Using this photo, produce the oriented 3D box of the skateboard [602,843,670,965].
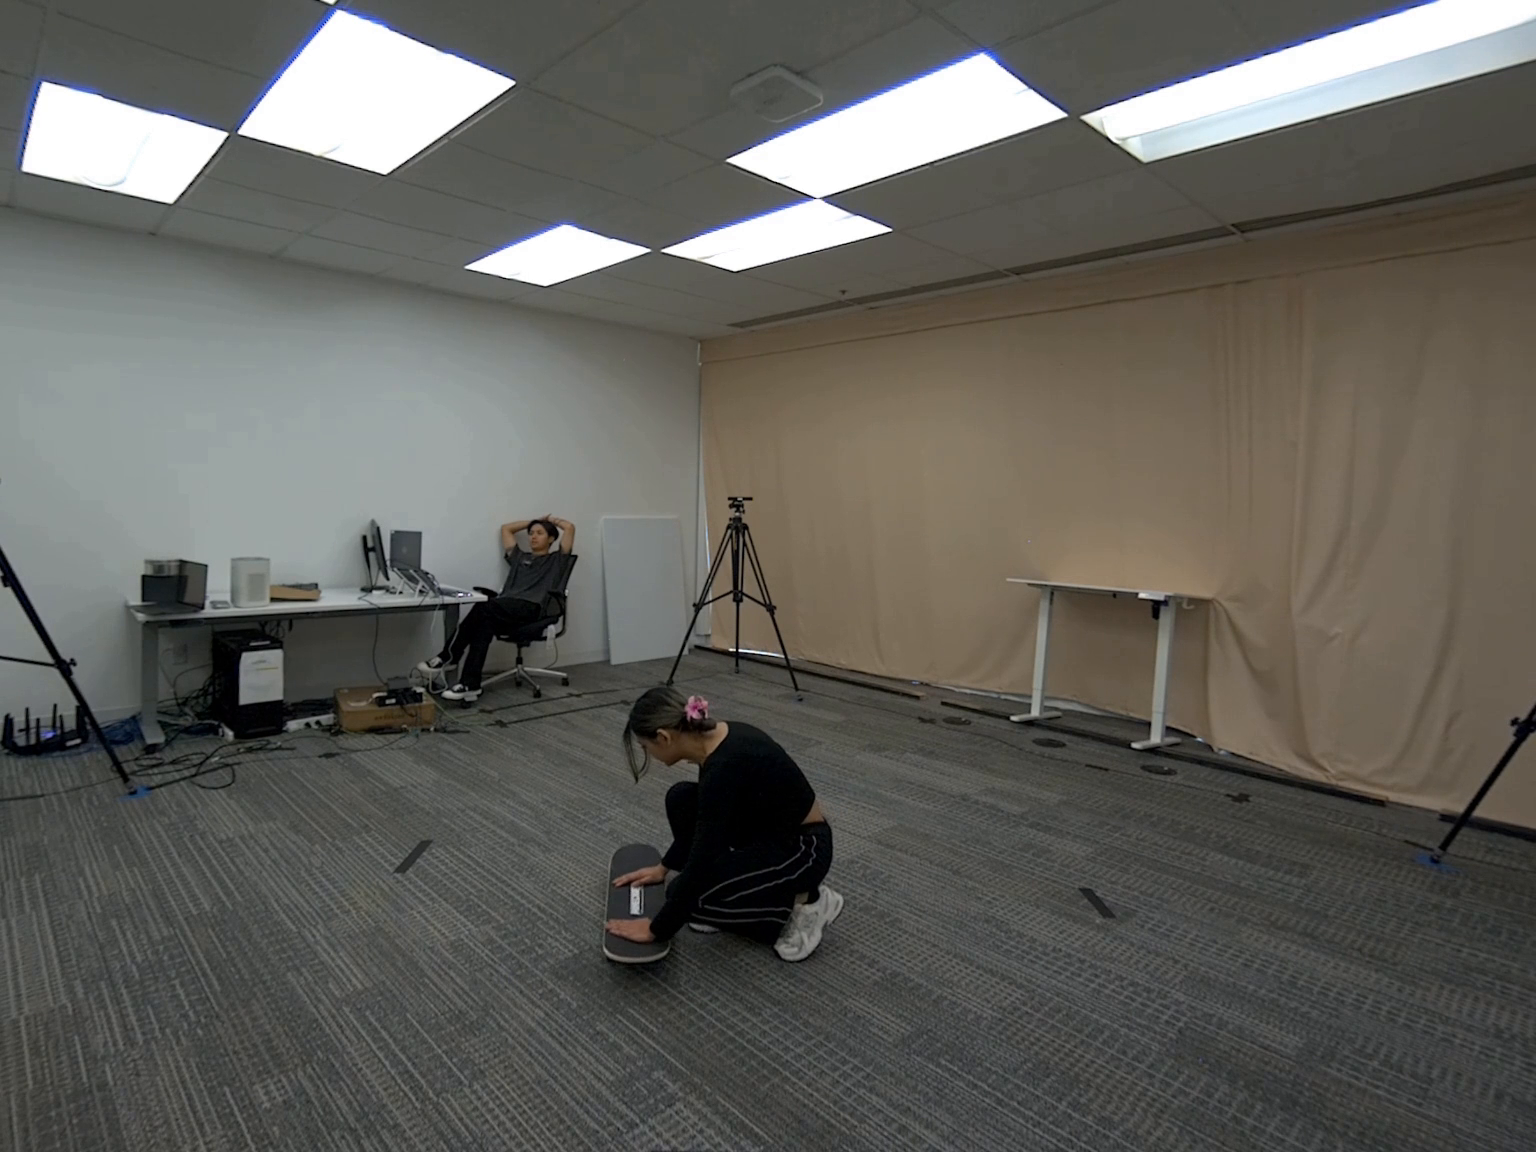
[{"bbox_3d":[-0.426,1.073,2.729,0.192,0.110,0.792,2,5,-9],"label":"skateboard"}]
